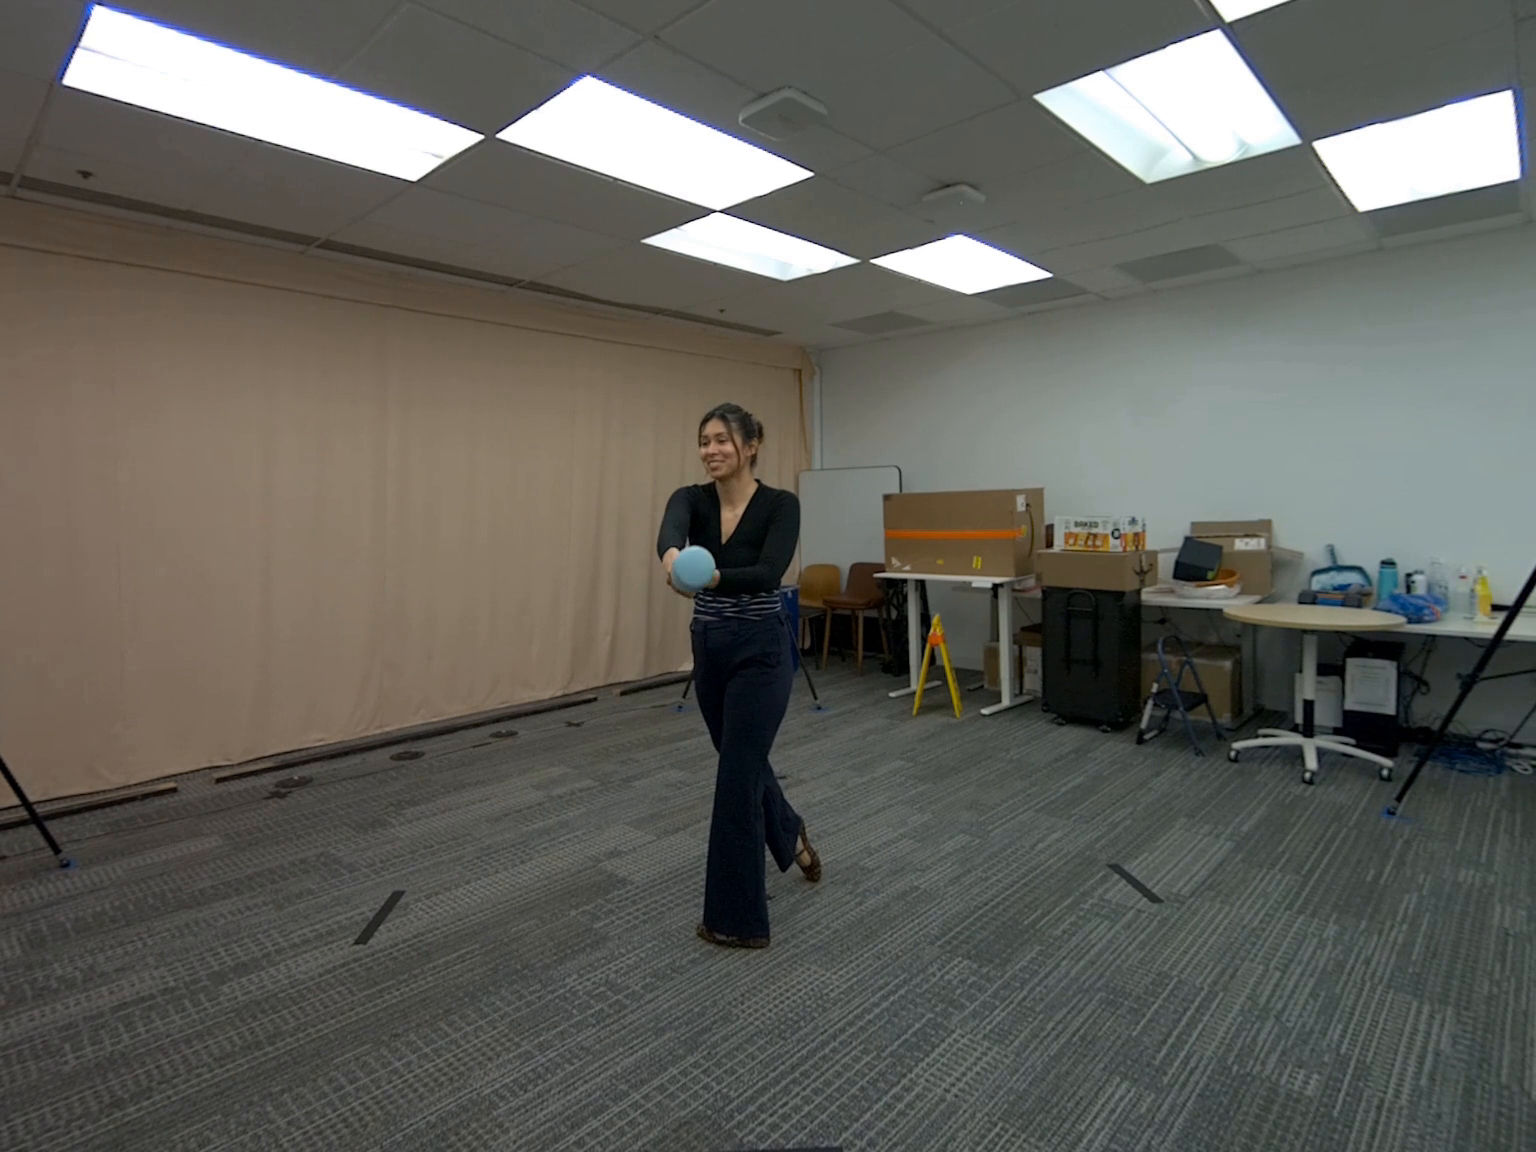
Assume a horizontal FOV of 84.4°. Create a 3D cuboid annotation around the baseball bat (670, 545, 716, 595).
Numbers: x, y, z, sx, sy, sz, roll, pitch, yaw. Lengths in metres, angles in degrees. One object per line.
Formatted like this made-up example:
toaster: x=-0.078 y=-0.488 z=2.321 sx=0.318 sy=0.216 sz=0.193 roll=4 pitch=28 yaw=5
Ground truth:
baseball bat: x=-0.187 y=0.001 z=1.935 sx=0.088 sy=0.089 sz=0.544 roll=-1 pitch=-4 yaw=-7
